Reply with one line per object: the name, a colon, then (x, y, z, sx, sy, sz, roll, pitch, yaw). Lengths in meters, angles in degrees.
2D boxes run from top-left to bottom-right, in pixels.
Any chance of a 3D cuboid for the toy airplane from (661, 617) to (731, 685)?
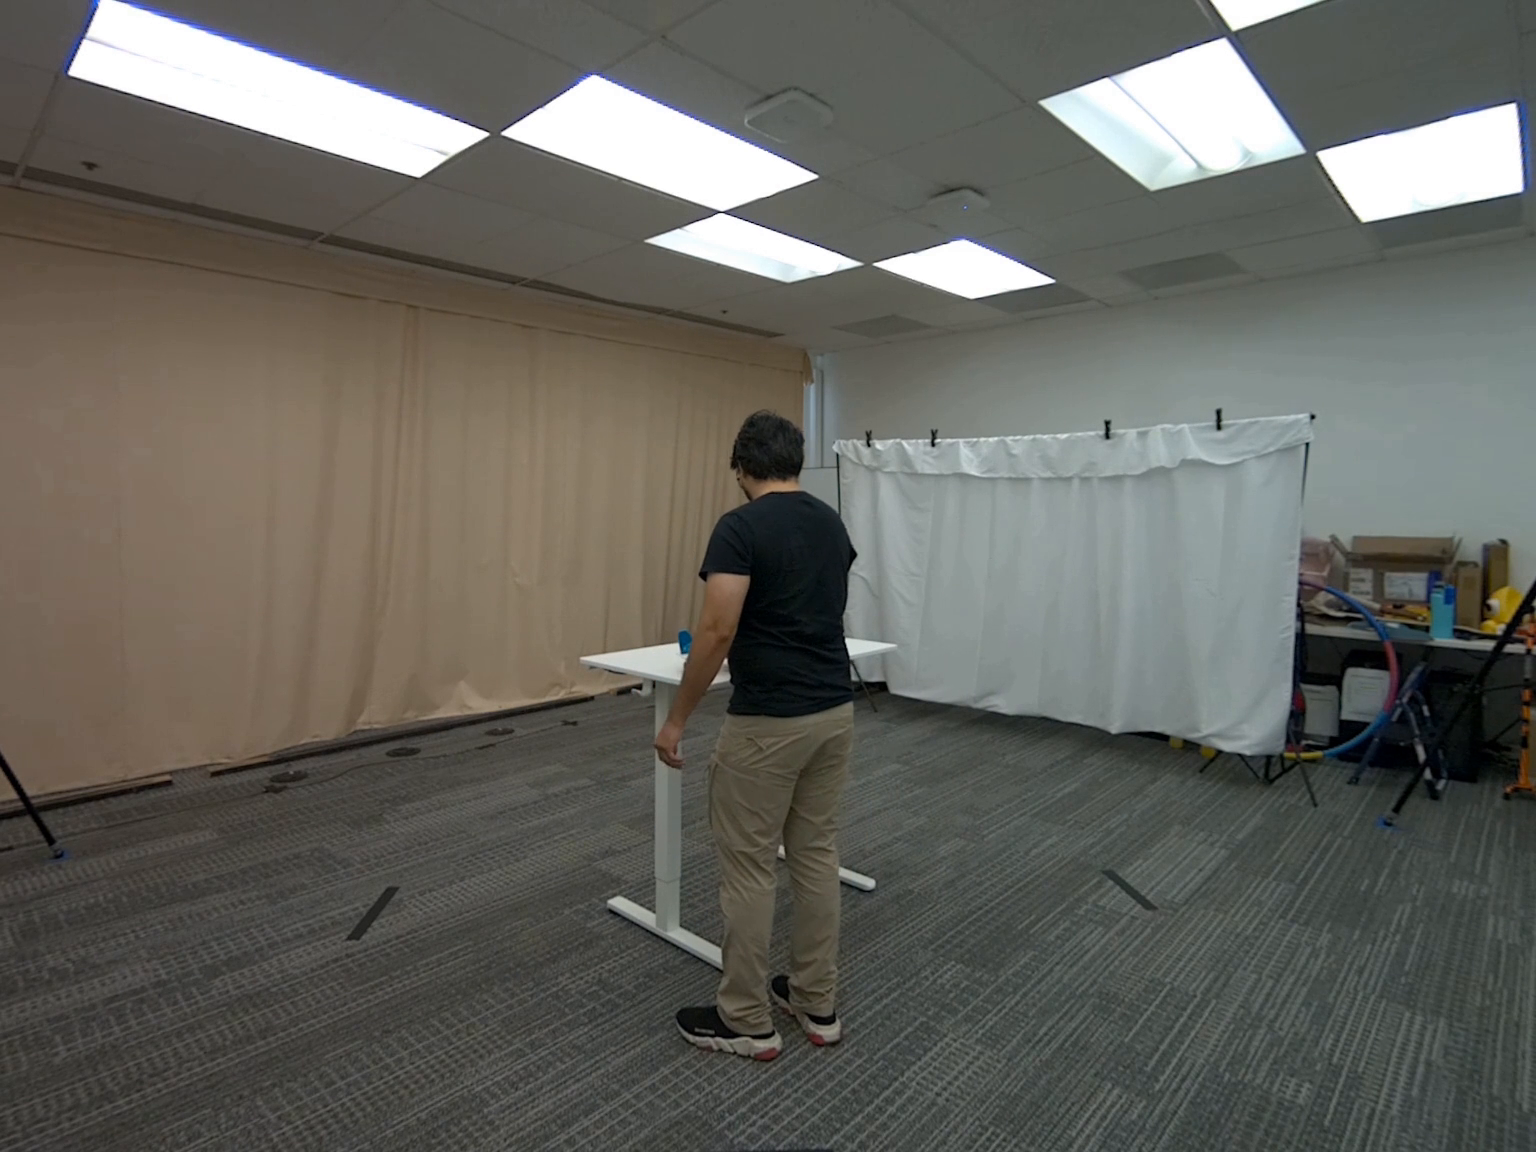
toy airplane: (-0.142, 0.216, 2.569, 0.259, 0.156, 0.251, 4, 4, 41)
